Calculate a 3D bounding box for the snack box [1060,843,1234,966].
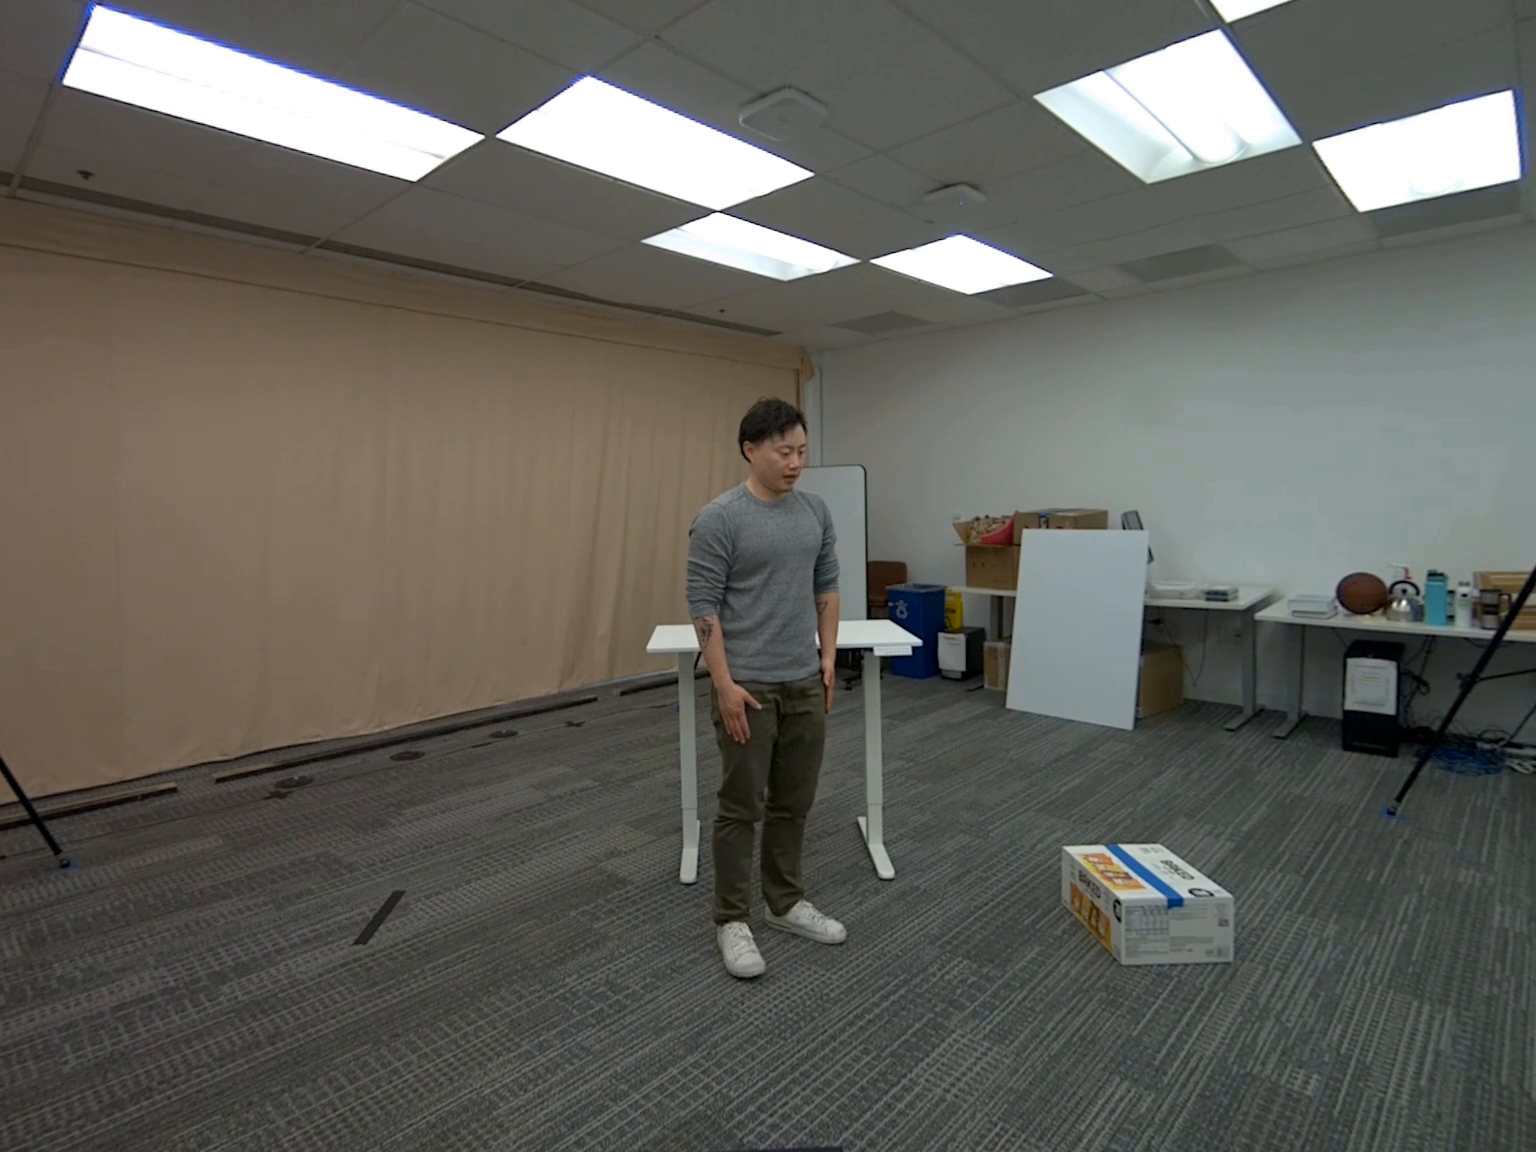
[{"bbox_3d":[1.213,1.044,2.699,0.339,0.205,0.407,-1,4,-4],"label":"snack box"}]
